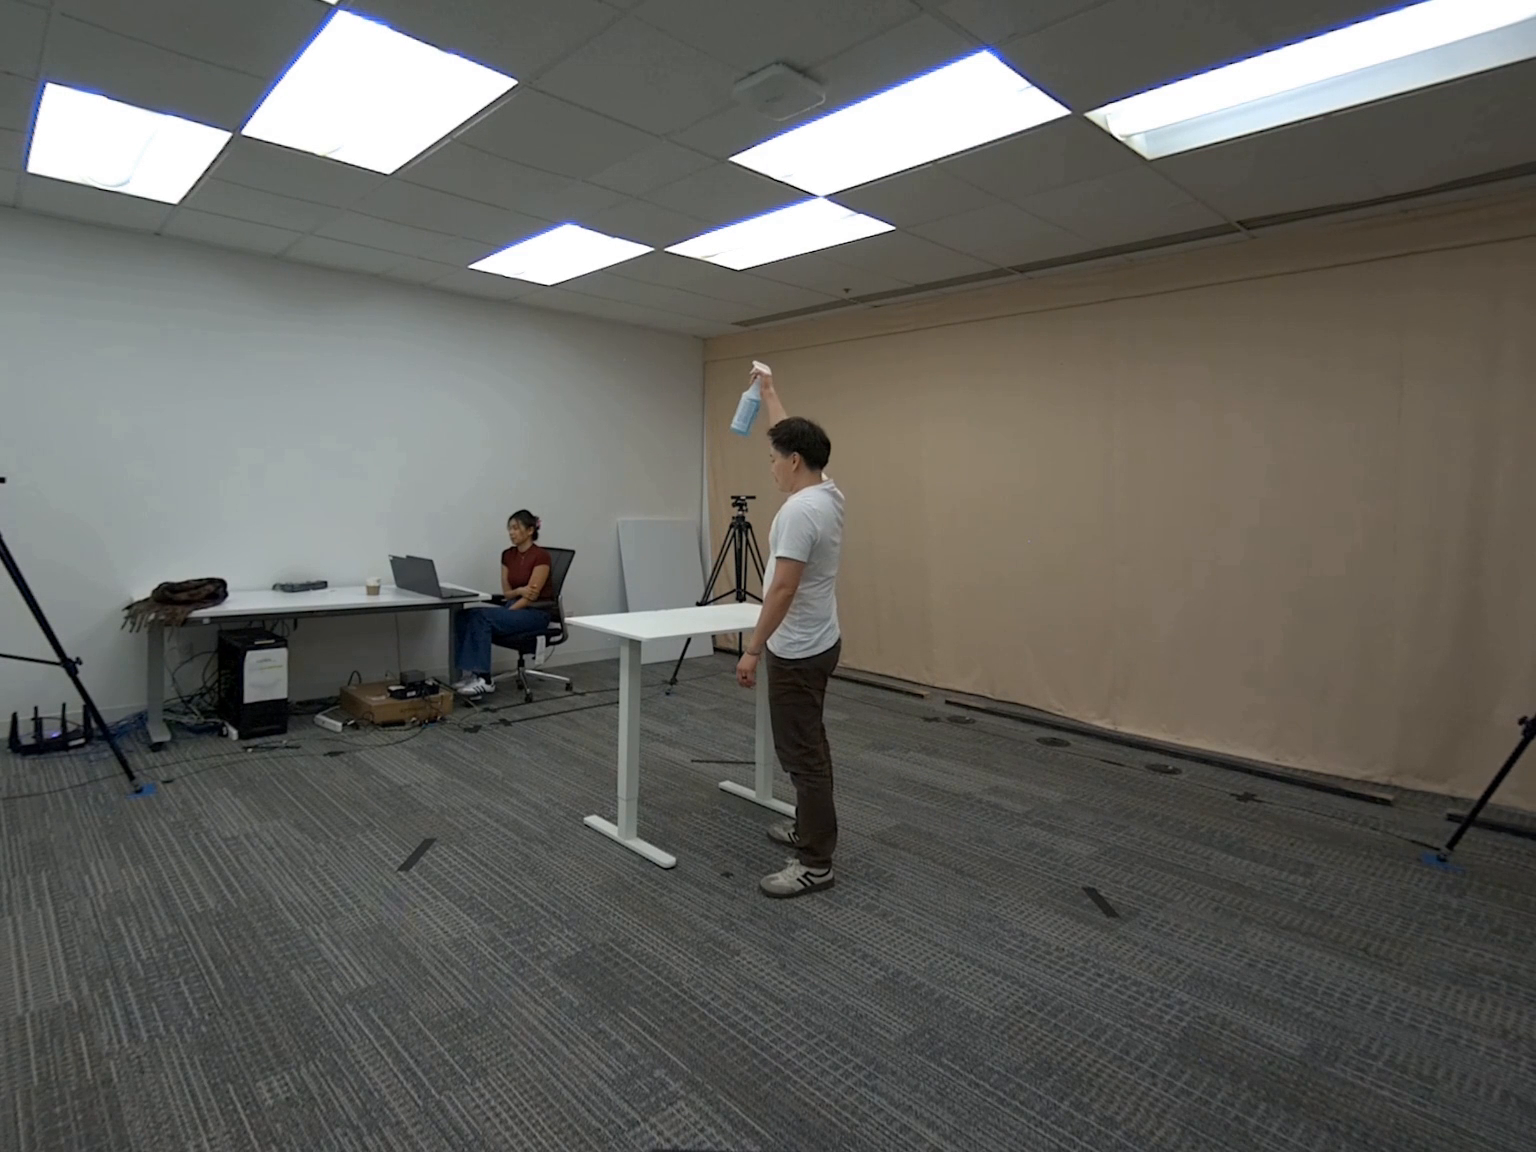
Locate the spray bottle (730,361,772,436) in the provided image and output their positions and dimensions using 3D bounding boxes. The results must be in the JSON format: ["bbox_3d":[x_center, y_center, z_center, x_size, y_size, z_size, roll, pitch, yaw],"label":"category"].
[{"bbox_3d":[-0.075,-0.721,3.463,0.093,0.296,0.085,29,14,40],"label":"spray bottle"}]
